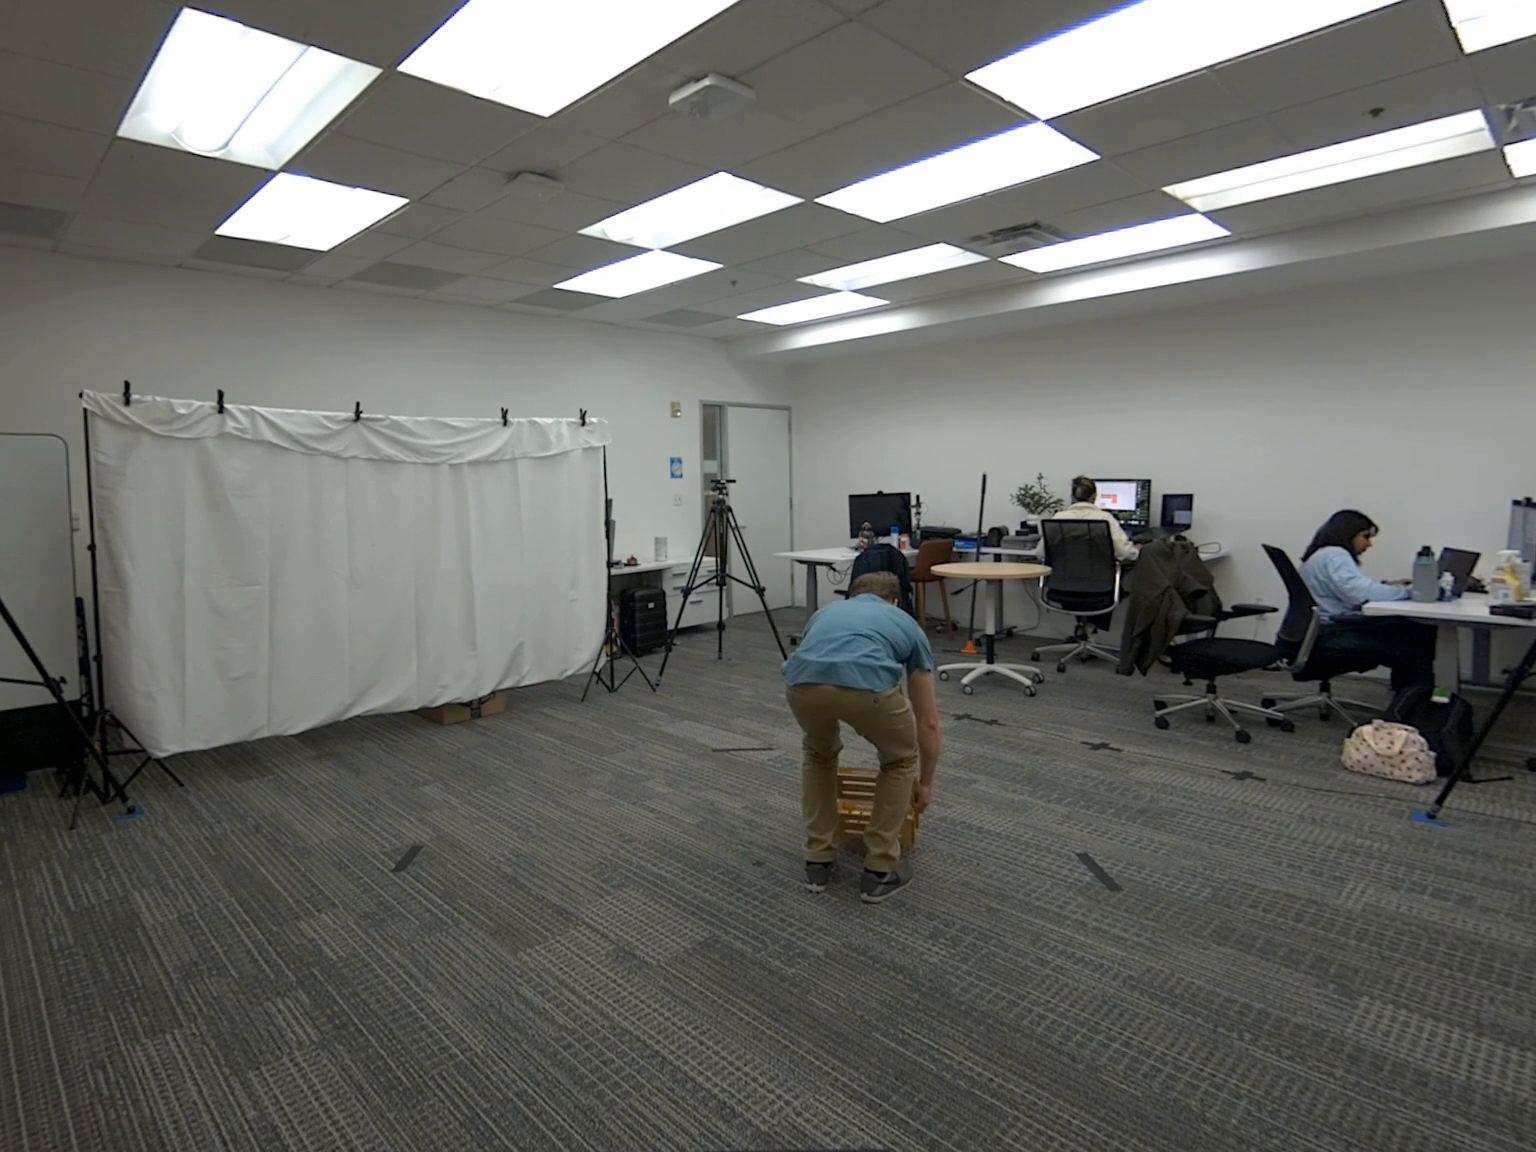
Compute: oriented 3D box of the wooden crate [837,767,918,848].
[{"bbox_3d":[0.410,0.829,3.237,0.329,0.272,0.299,0,6,14],"label":"wooden crate"}]
